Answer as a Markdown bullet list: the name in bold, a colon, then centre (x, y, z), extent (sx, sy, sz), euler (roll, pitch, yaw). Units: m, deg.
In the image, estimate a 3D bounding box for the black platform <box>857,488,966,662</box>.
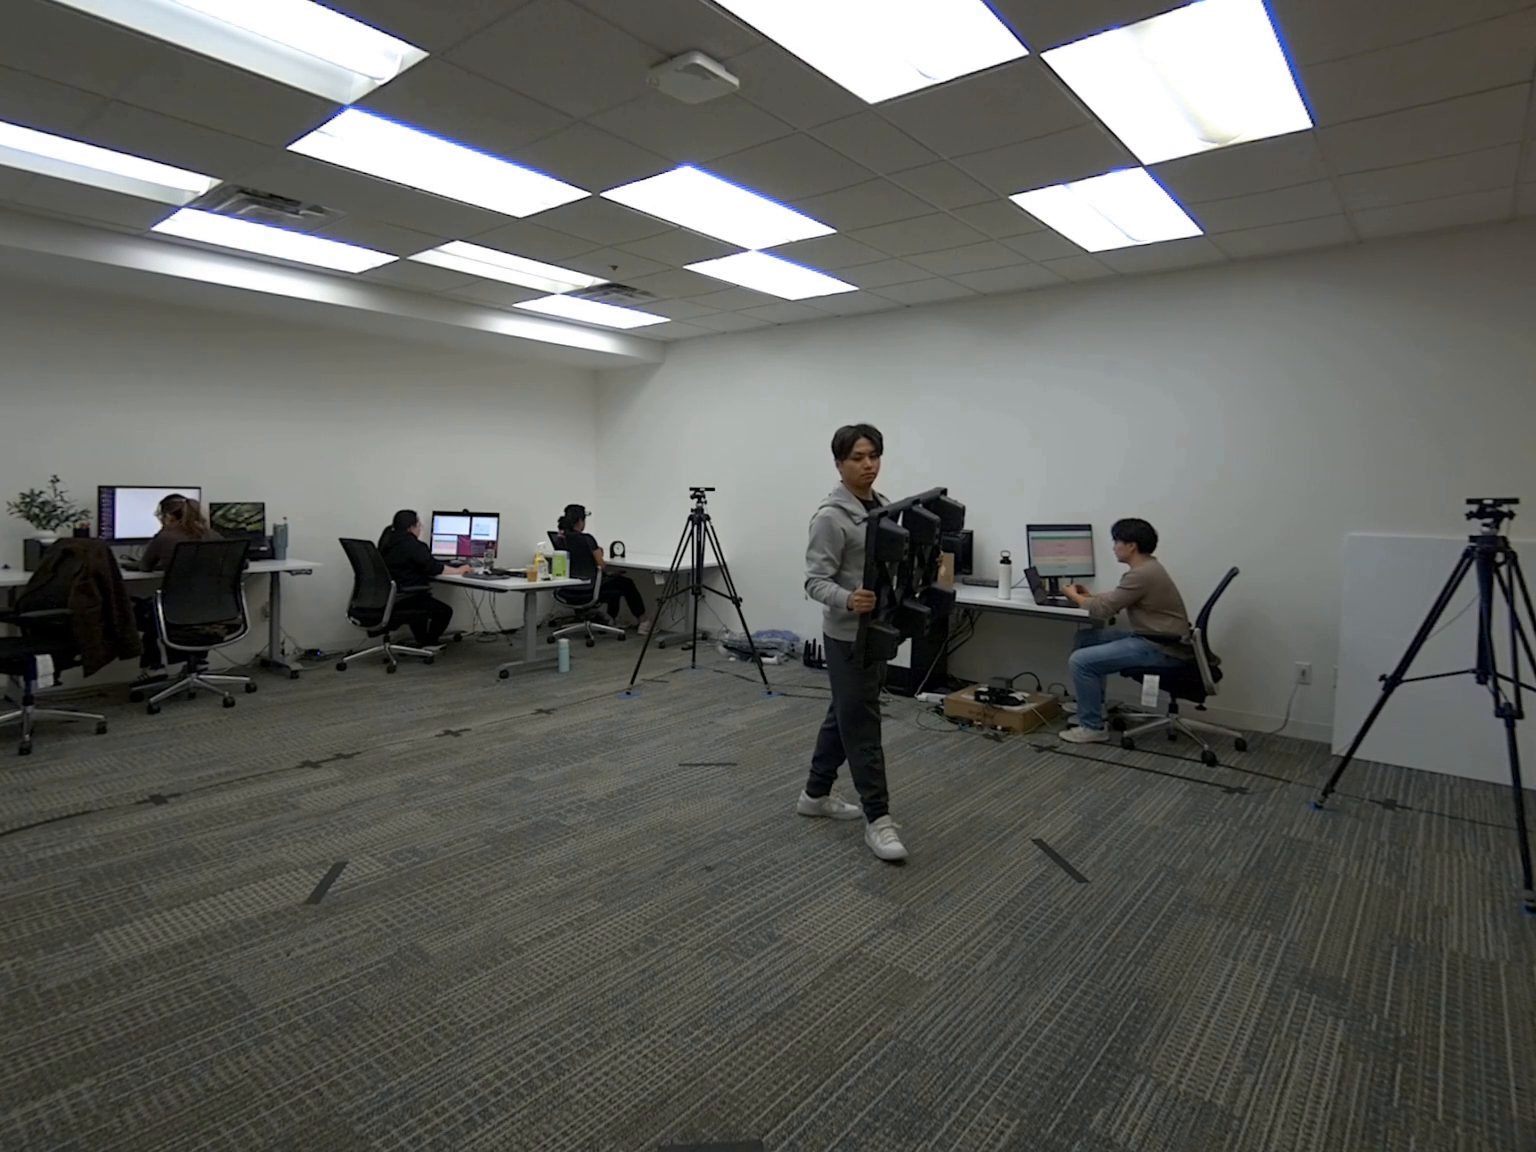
- **black platform**: centre (0.572, -0.007, 3.367), extent (0.148, 0.598, 0.790), euler (10, 16, 29)
